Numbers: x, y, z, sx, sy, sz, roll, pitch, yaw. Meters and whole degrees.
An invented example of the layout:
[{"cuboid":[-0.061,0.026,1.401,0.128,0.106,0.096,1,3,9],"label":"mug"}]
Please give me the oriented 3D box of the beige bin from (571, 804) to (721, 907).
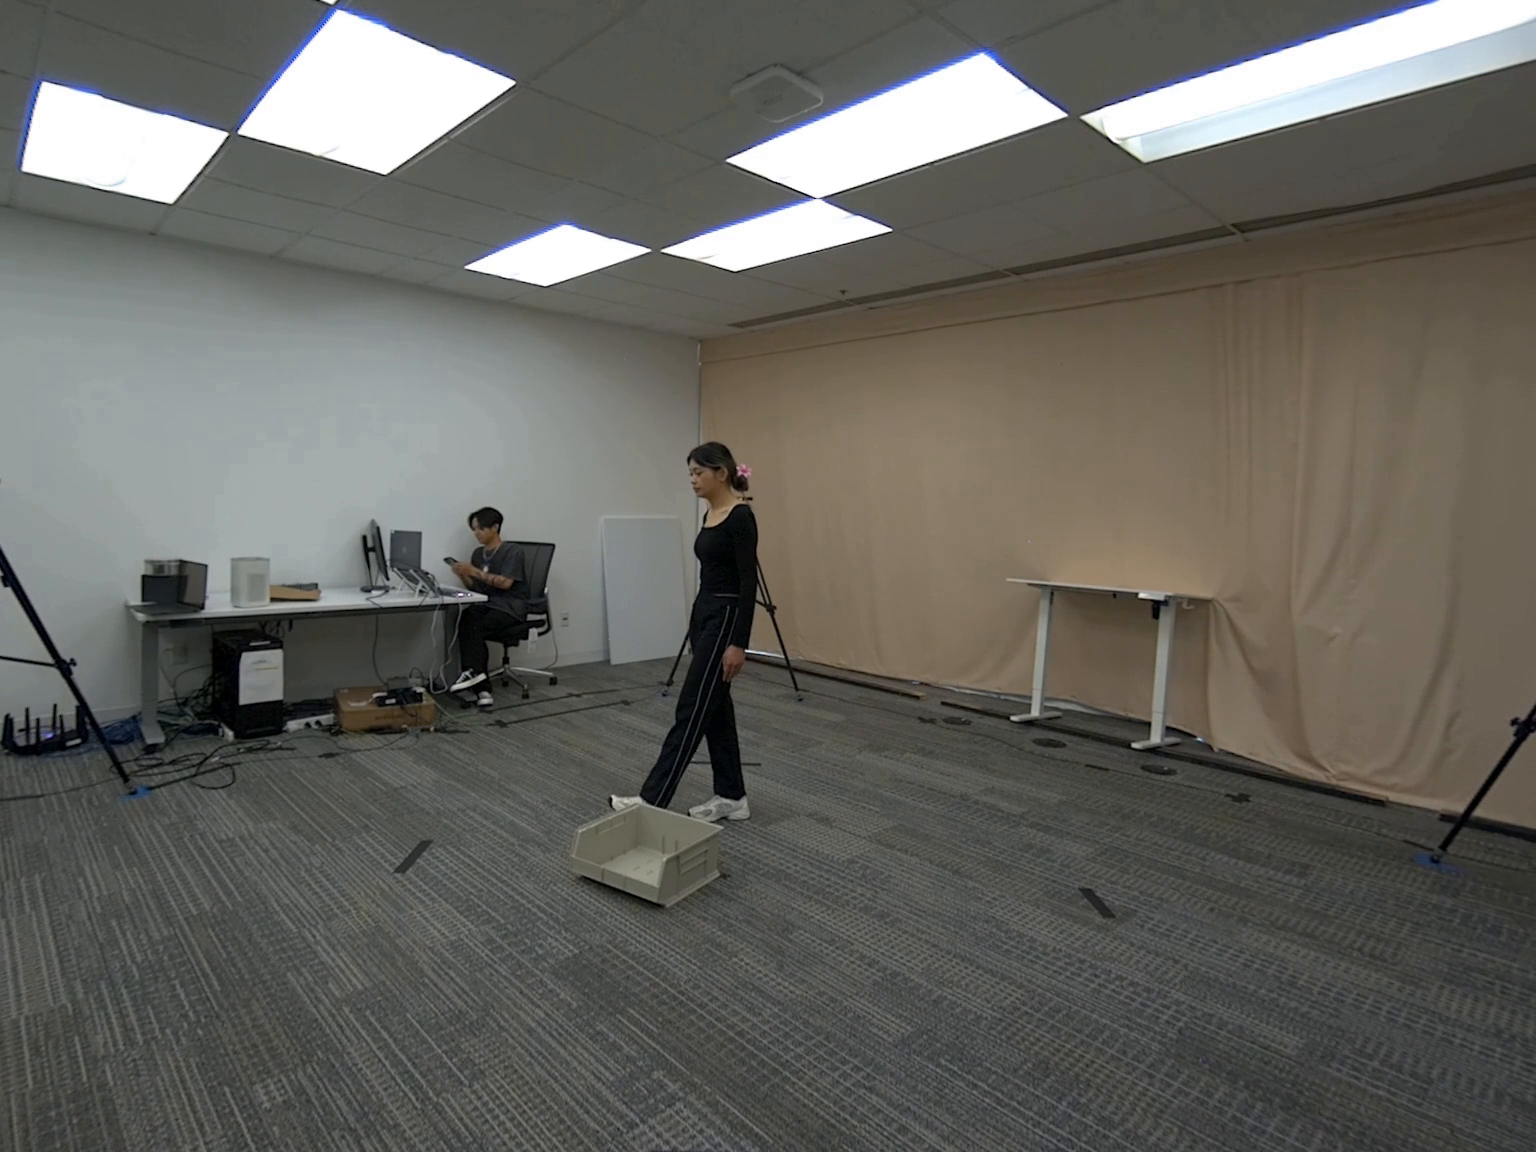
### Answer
[{"cuboid":[-0.449,1.018,3.074,0.432,0.188,0.369,4,5,33],"label":"beige bin"}]
